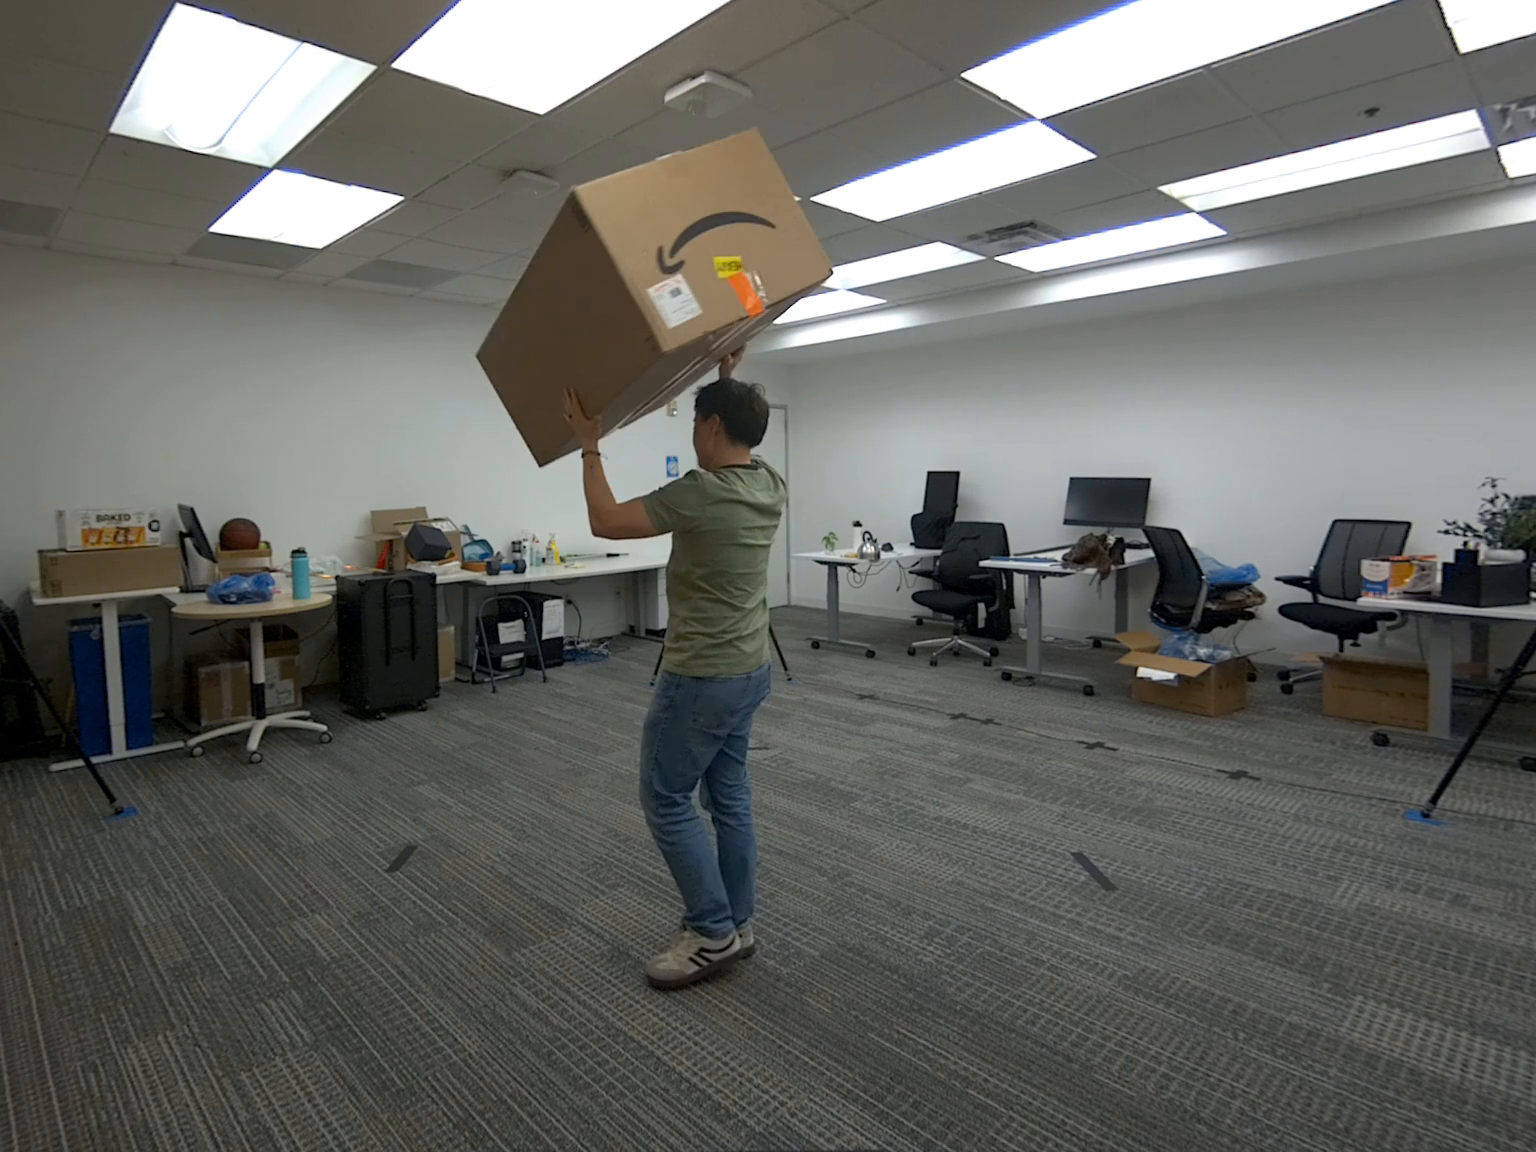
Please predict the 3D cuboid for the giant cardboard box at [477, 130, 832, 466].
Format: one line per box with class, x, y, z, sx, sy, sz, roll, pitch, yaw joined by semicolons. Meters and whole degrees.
giant cardboard box;-0.384;-0.735;2.495;0.573;0.423;1.042;-34;9;-30
